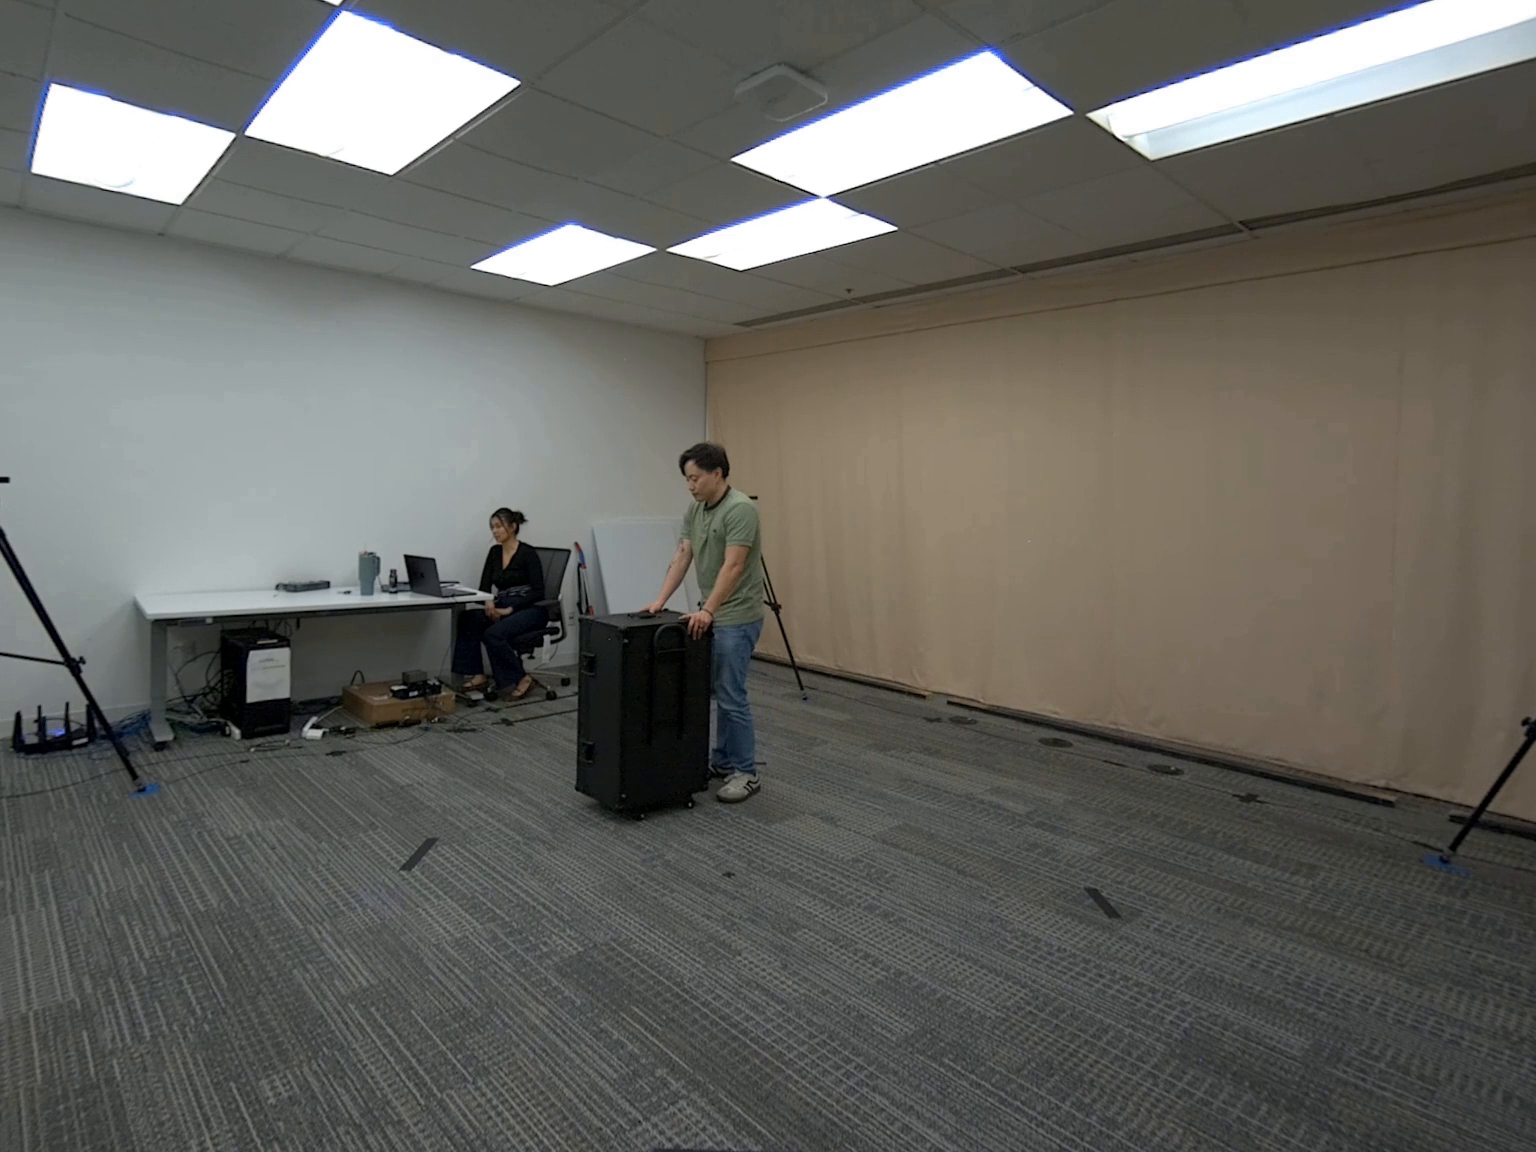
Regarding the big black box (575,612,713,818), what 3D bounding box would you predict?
[{"bbox_3d":[-0.555,0.609,3.755,0.509,0.859,0.406,-2,5,-42],"label":"big black box"}]
